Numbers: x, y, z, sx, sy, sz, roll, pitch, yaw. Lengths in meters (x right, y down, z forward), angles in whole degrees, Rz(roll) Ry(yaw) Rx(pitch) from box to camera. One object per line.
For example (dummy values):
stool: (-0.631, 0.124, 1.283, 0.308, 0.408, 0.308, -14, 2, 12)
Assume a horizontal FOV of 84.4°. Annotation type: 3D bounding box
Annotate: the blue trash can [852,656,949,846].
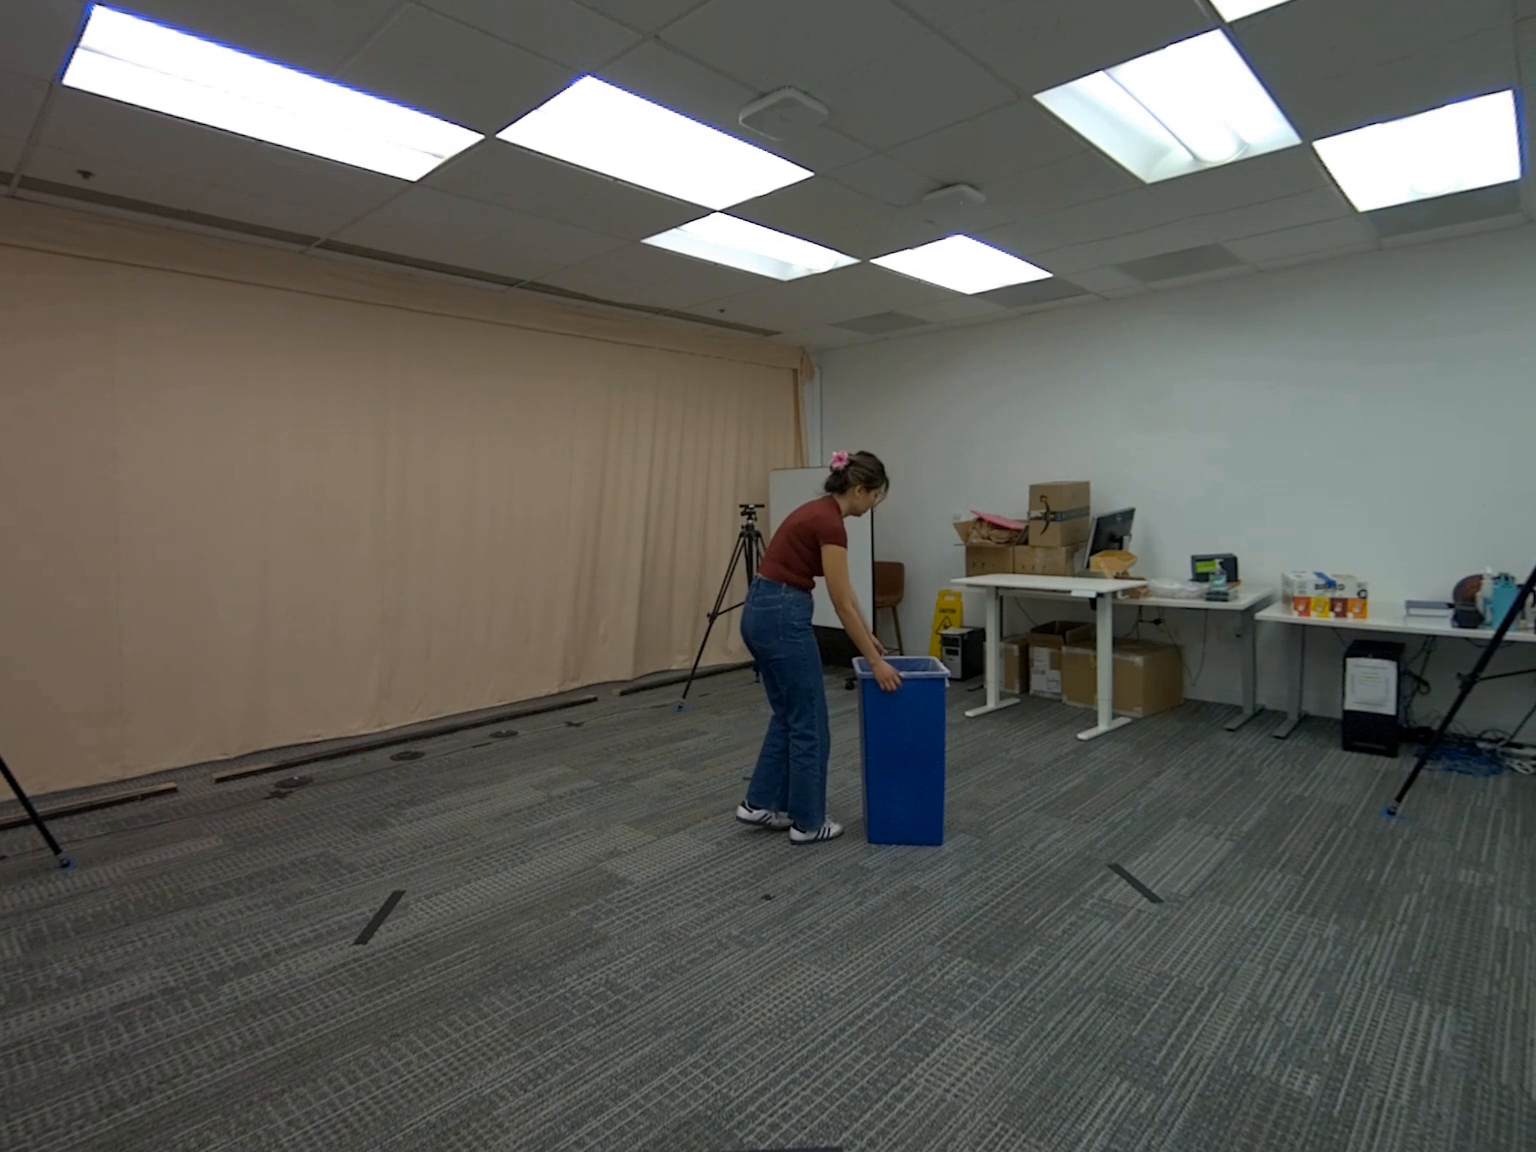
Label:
blue trash can: (0.556, 0.729, 3.543, 0.376, 0.712, 0.377, -1, 3, 4)
